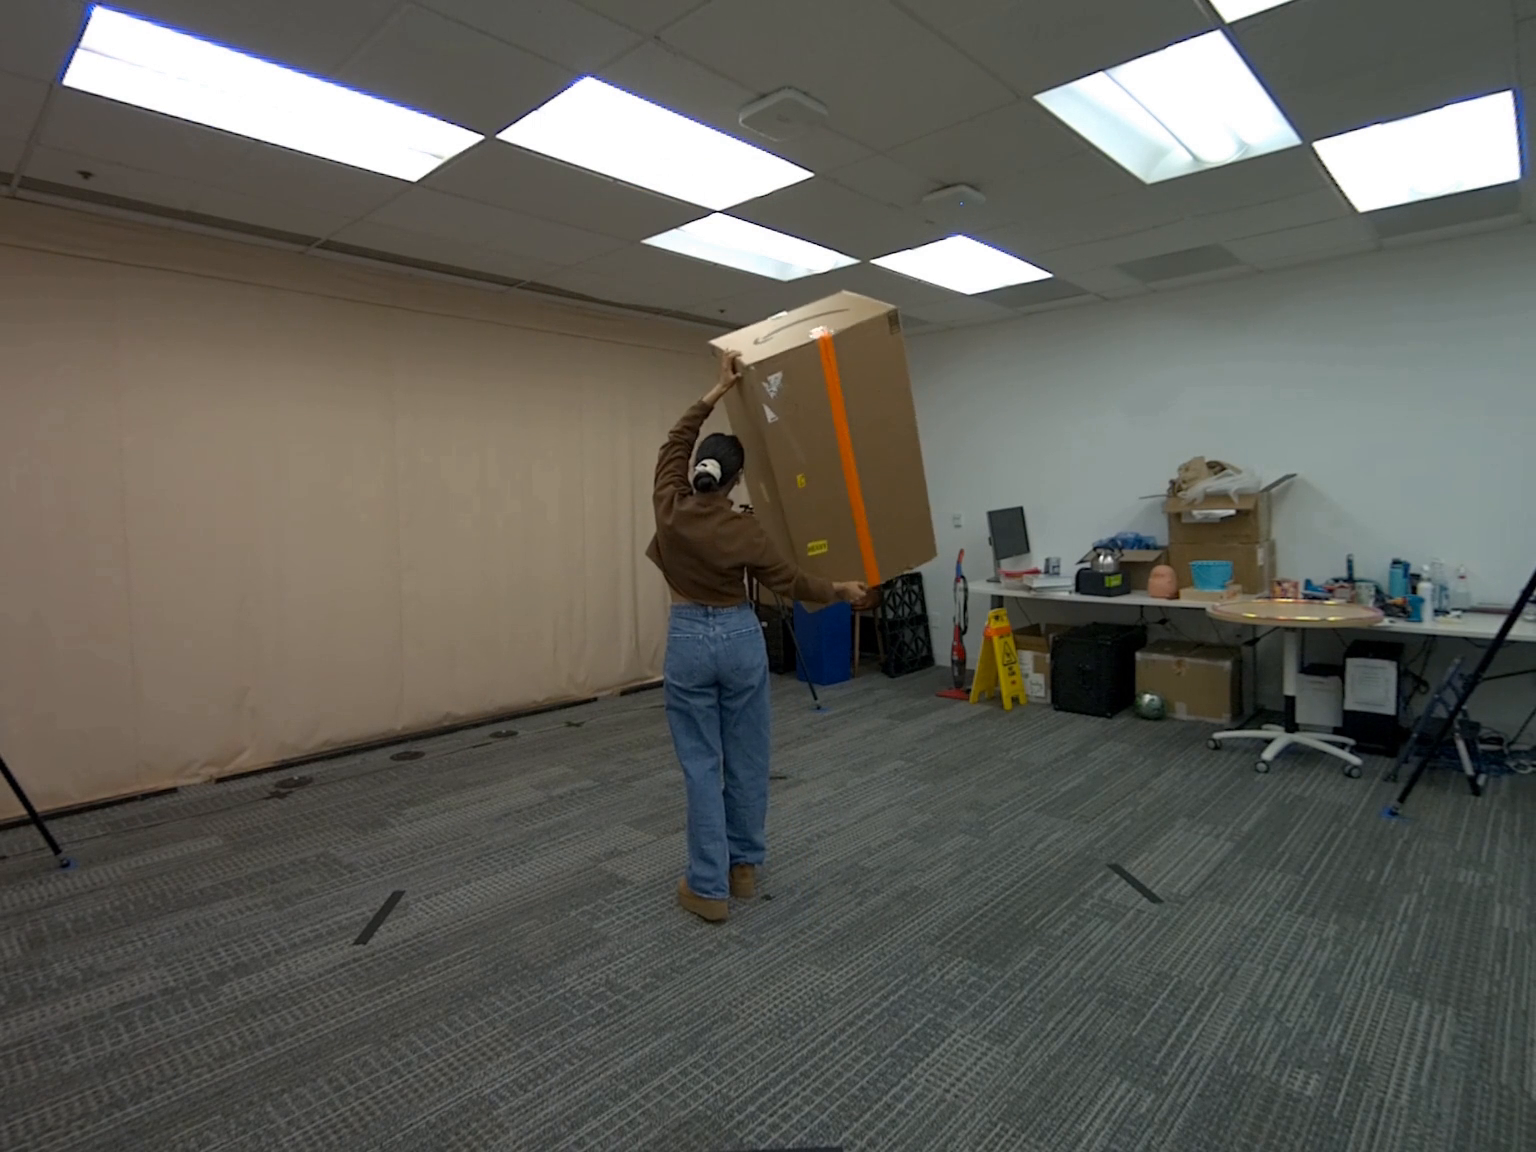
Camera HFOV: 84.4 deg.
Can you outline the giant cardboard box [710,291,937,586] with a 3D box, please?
[{"bbox_3d":[0.223,-0.469,3.228,0.573,1.002,0.439,-22,30,-10],"label":"giant cardboard box"}]
